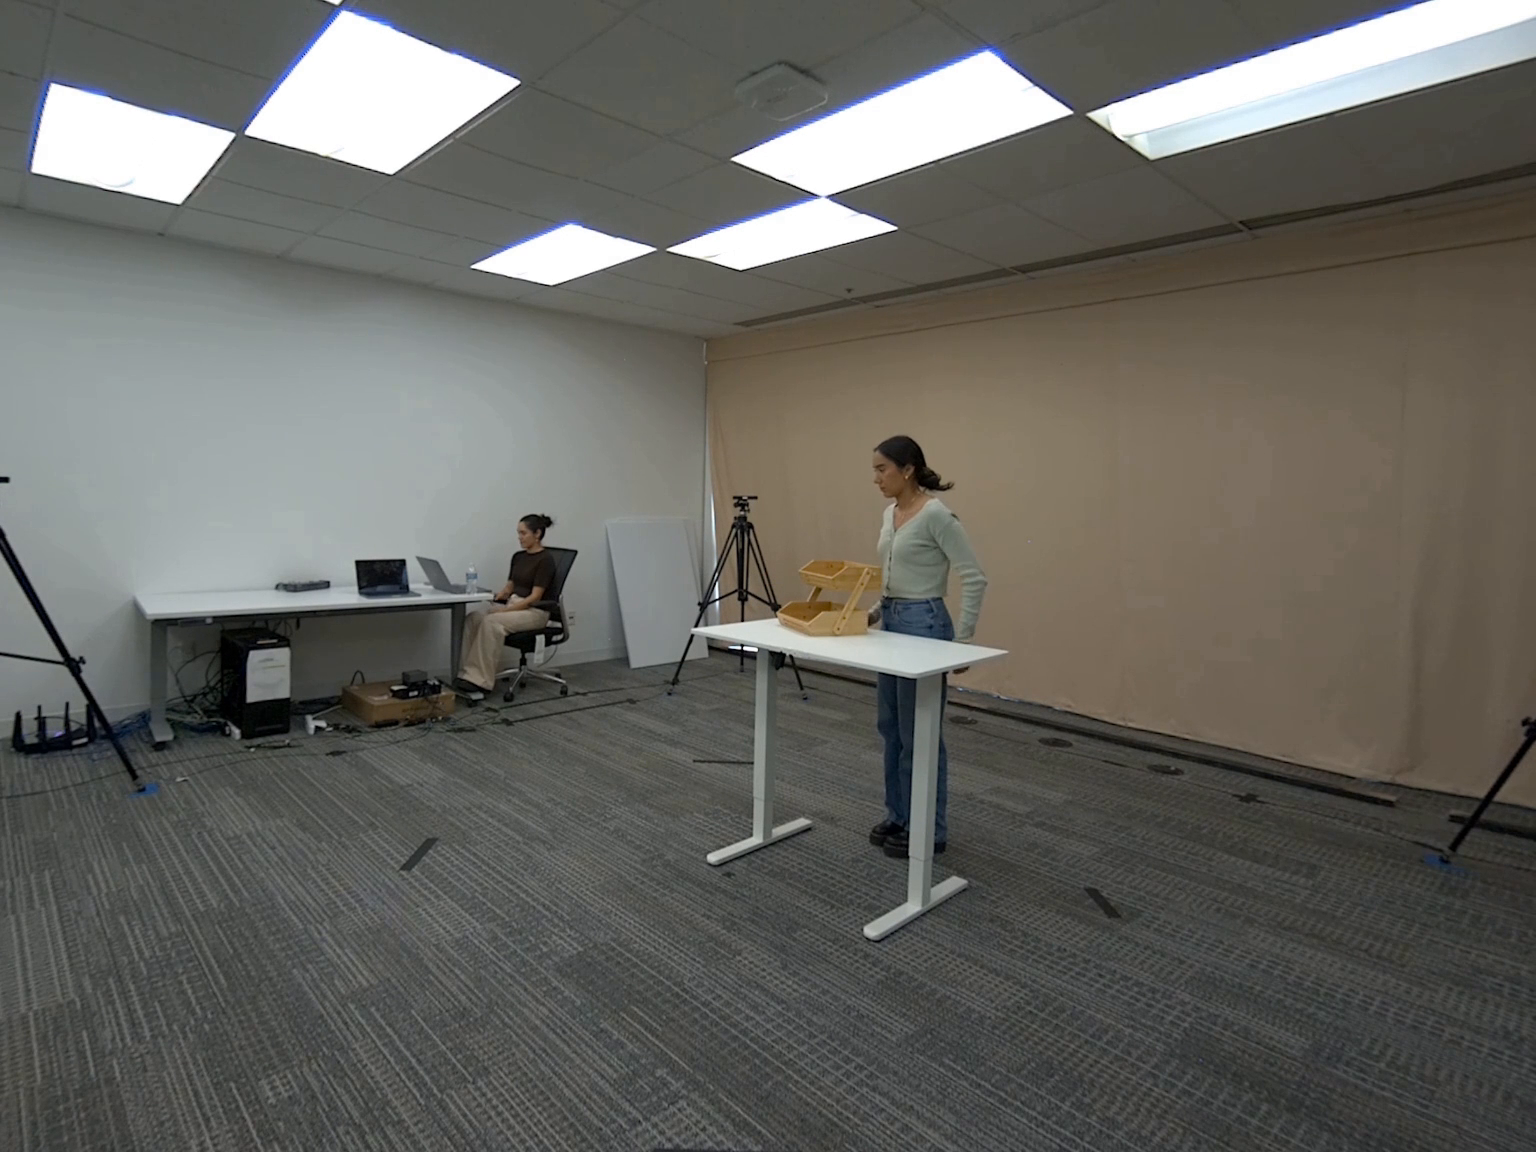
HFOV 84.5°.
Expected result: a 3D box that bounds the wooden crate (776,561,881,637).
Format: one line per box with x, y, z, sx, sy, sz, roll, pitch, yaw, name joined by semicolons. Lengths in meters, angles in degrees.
0.227;0.077;3.295;0.297;0.272;0.331;1;5;-22;wooden crate
